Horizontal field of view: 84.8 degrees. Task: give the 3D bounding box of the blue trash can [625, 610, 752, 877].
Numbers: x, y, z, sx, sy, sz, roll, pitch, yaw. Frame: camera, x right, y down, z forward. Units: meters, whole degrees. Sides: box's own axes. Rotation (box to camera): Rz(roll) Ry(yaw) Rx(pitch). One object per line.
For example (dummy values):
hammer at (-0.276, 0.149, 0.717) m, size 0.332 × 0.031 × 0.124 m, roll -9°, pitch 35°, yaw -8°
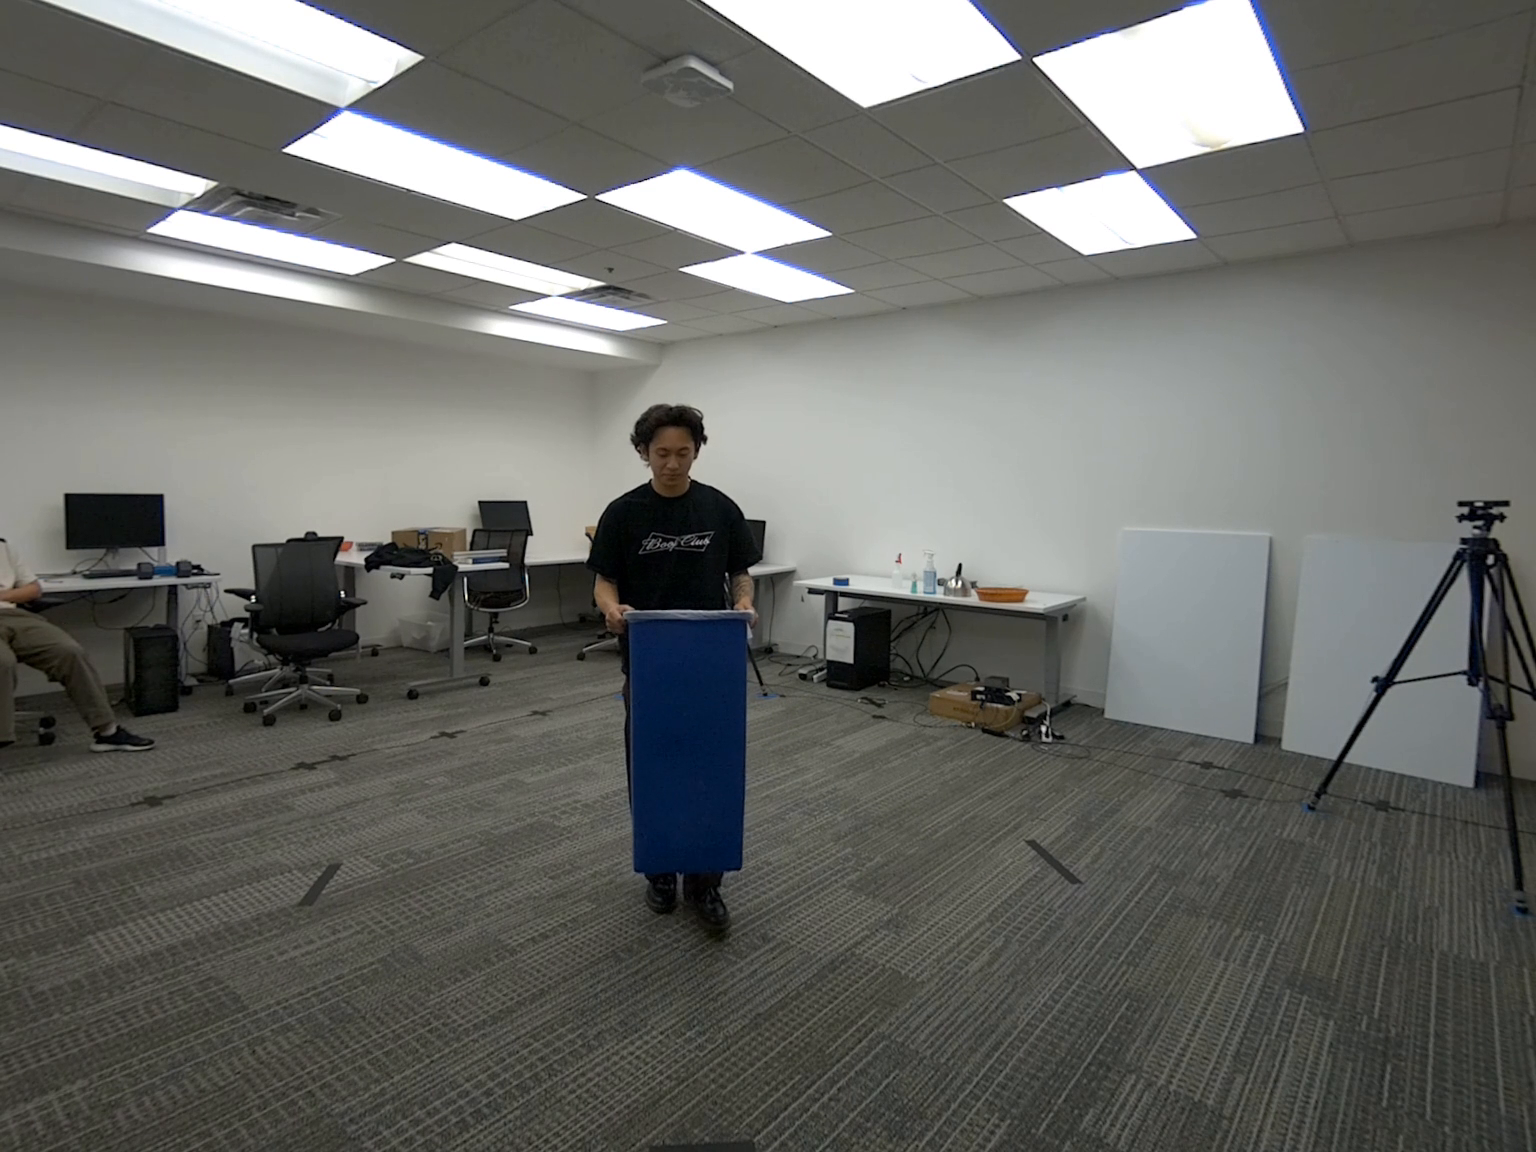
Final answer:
blue trash can at (-0.261, 0.472, 2.514) m, size 0.371 × 0.718 × 0.379 m, roll 1°, pitch -7°, yaw -8°
